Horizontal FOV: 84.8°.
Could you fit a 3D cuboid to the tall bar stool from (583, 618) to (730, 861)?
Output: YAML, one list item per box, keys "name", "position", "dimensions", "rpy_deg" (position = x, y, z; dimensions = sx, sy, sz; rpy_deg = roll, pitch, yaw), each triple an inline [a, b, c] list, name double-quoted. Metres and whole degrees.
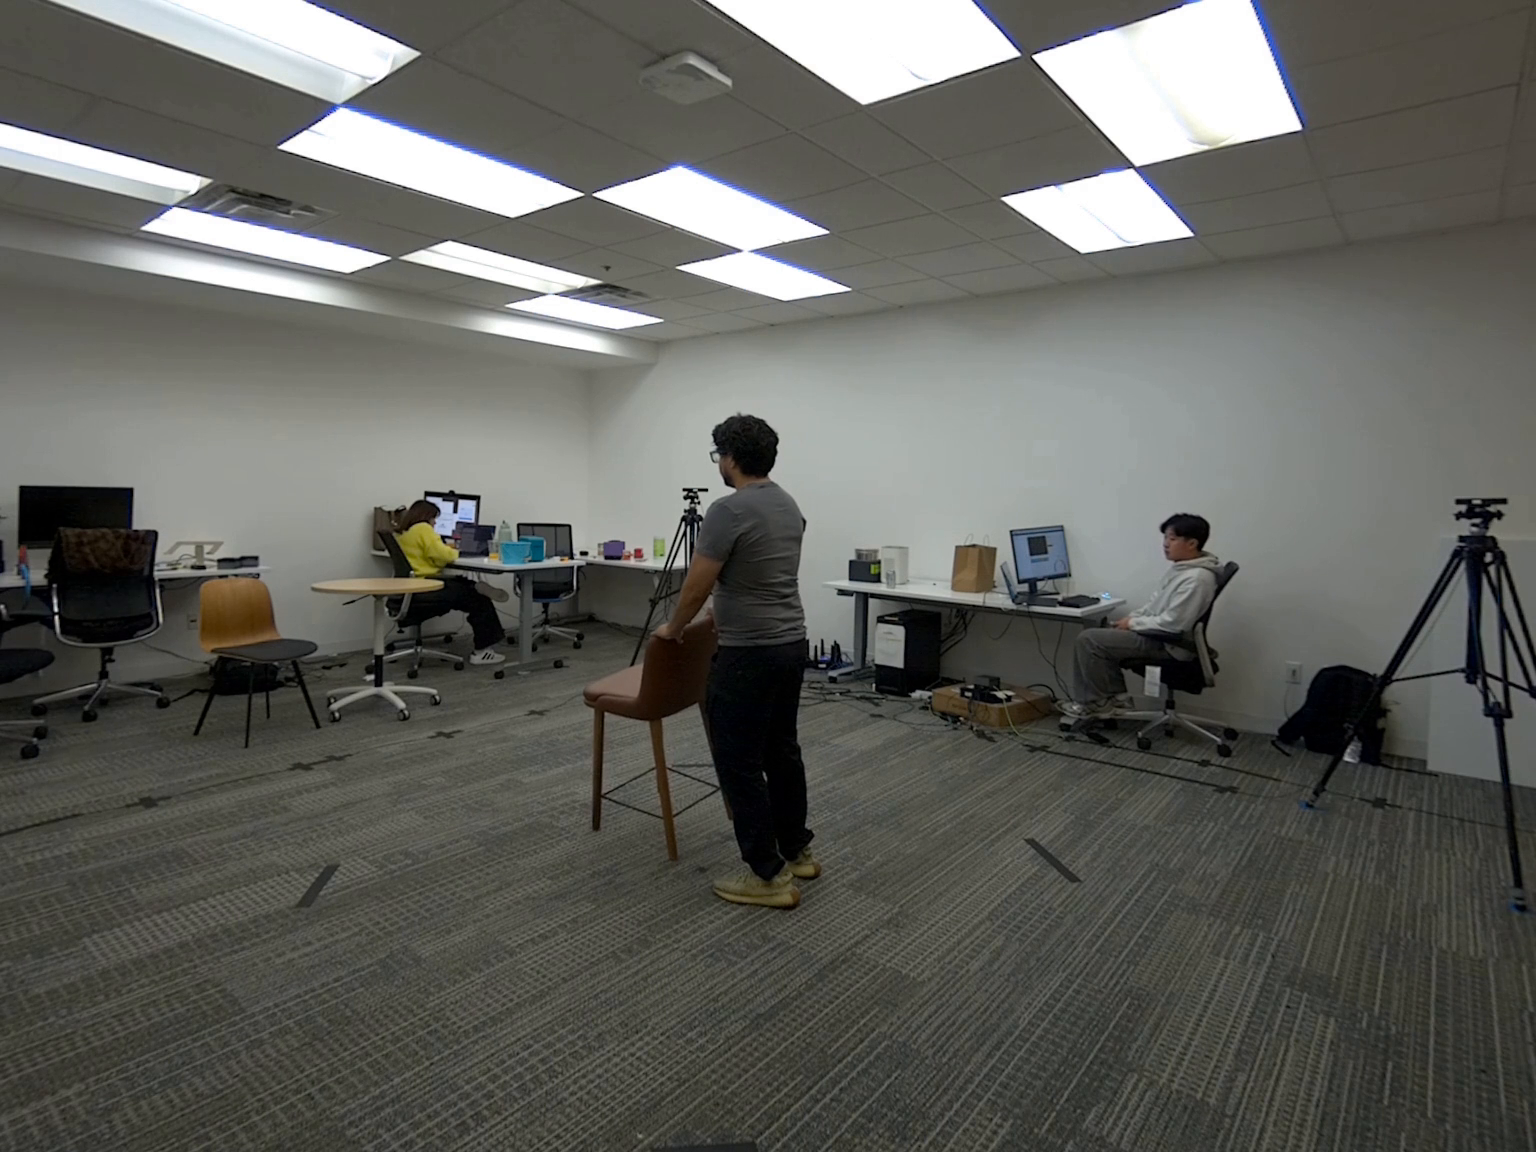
- name: "tall bar stool"
  position: [-0.449, 0.581, 3.384]
  dimensions: [0.484, 0.880, 0.446]
  rpy_deg: [7, 14, 39]
